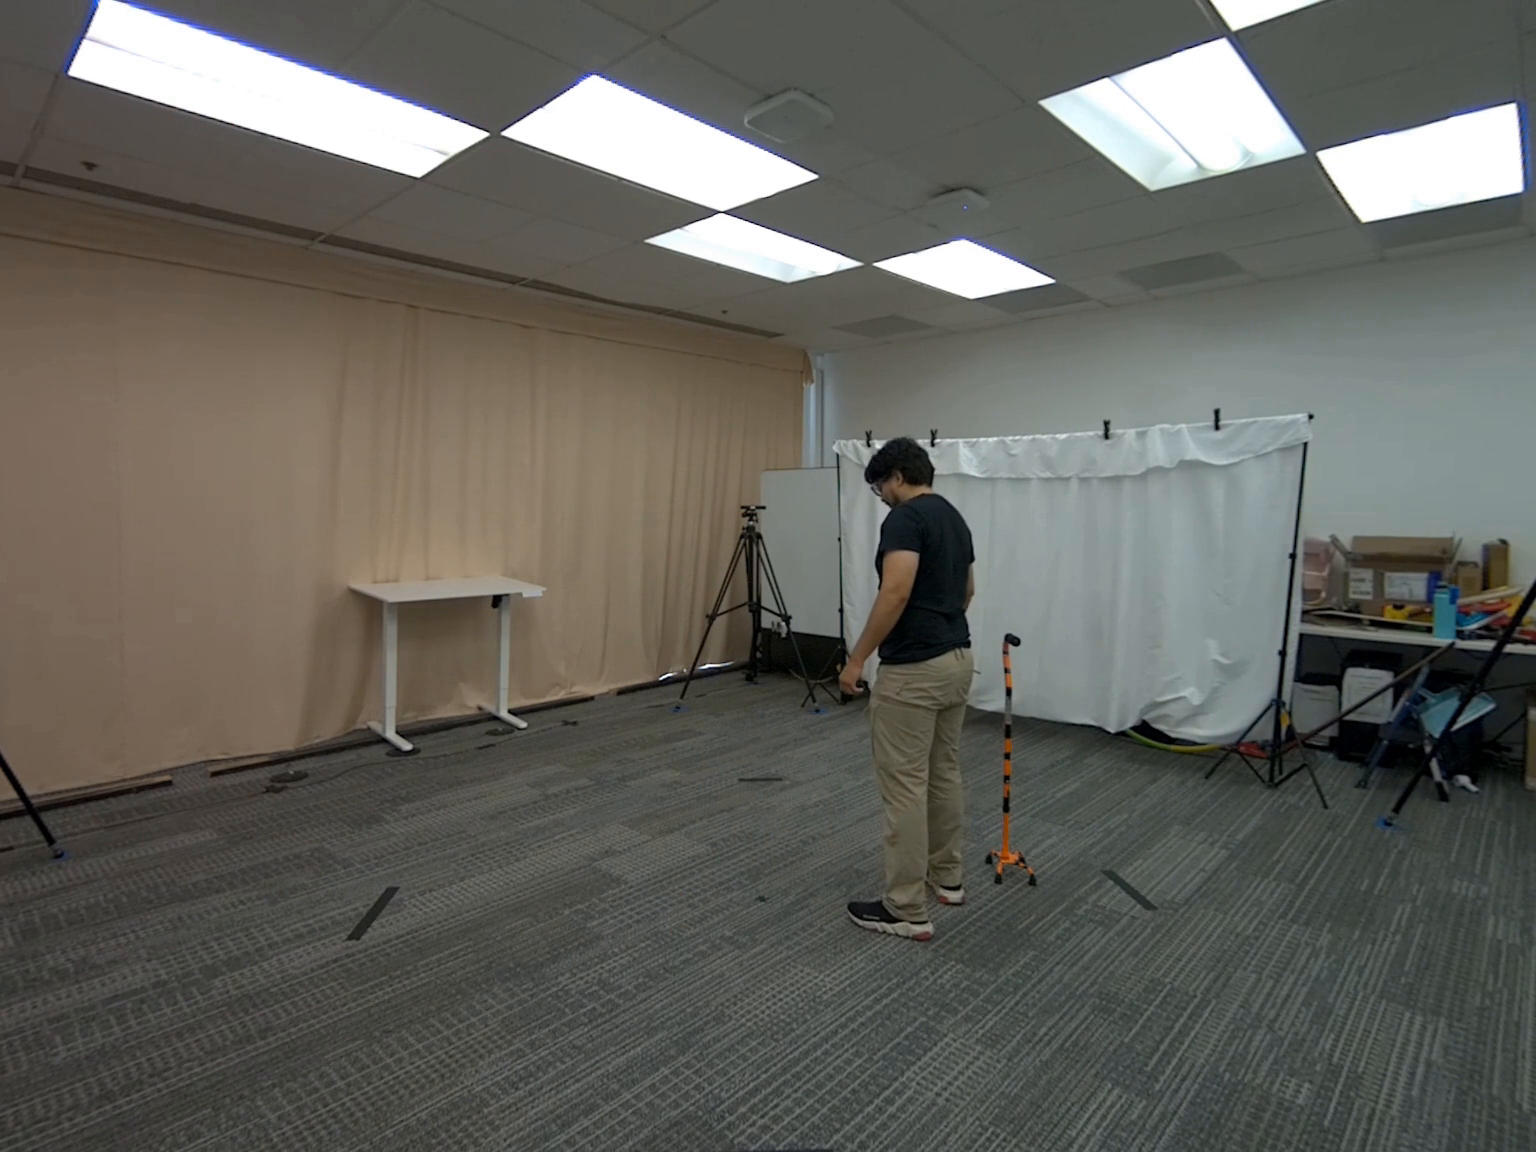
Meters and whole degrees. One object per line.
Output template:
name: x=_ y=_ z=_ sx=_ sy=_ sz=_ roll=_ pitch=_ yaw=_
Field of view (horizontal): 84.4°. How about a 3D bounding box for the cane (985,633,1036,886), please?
cane: x=0.930 y=0.677 z=3.165 sx=0.152 sy=0.906 sz=0.206 roll=1 pitch=2 yaw=3
